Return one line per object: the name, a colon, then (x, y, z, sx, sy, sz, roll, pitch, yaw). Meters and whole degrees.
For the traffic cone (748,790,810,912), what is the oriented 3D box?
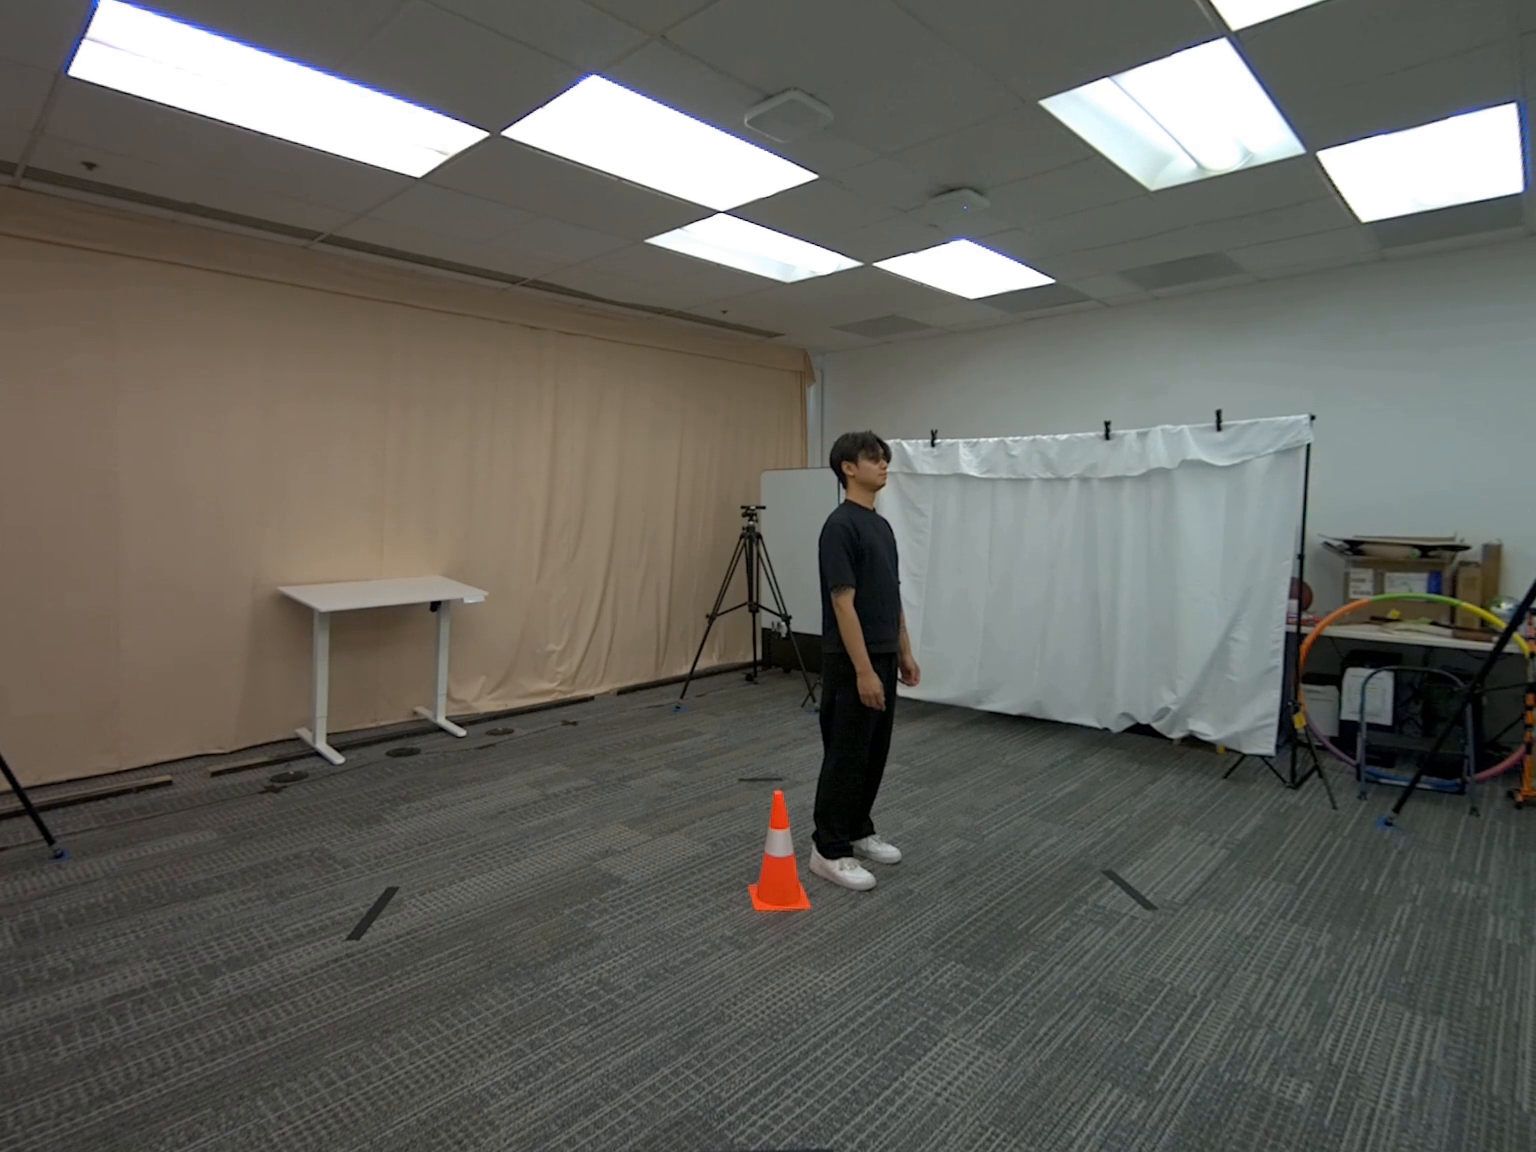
traffic cone: (0.037, 0.960, 2.988, 0.204, 0.383, 0.205, 0, 3, -5)
